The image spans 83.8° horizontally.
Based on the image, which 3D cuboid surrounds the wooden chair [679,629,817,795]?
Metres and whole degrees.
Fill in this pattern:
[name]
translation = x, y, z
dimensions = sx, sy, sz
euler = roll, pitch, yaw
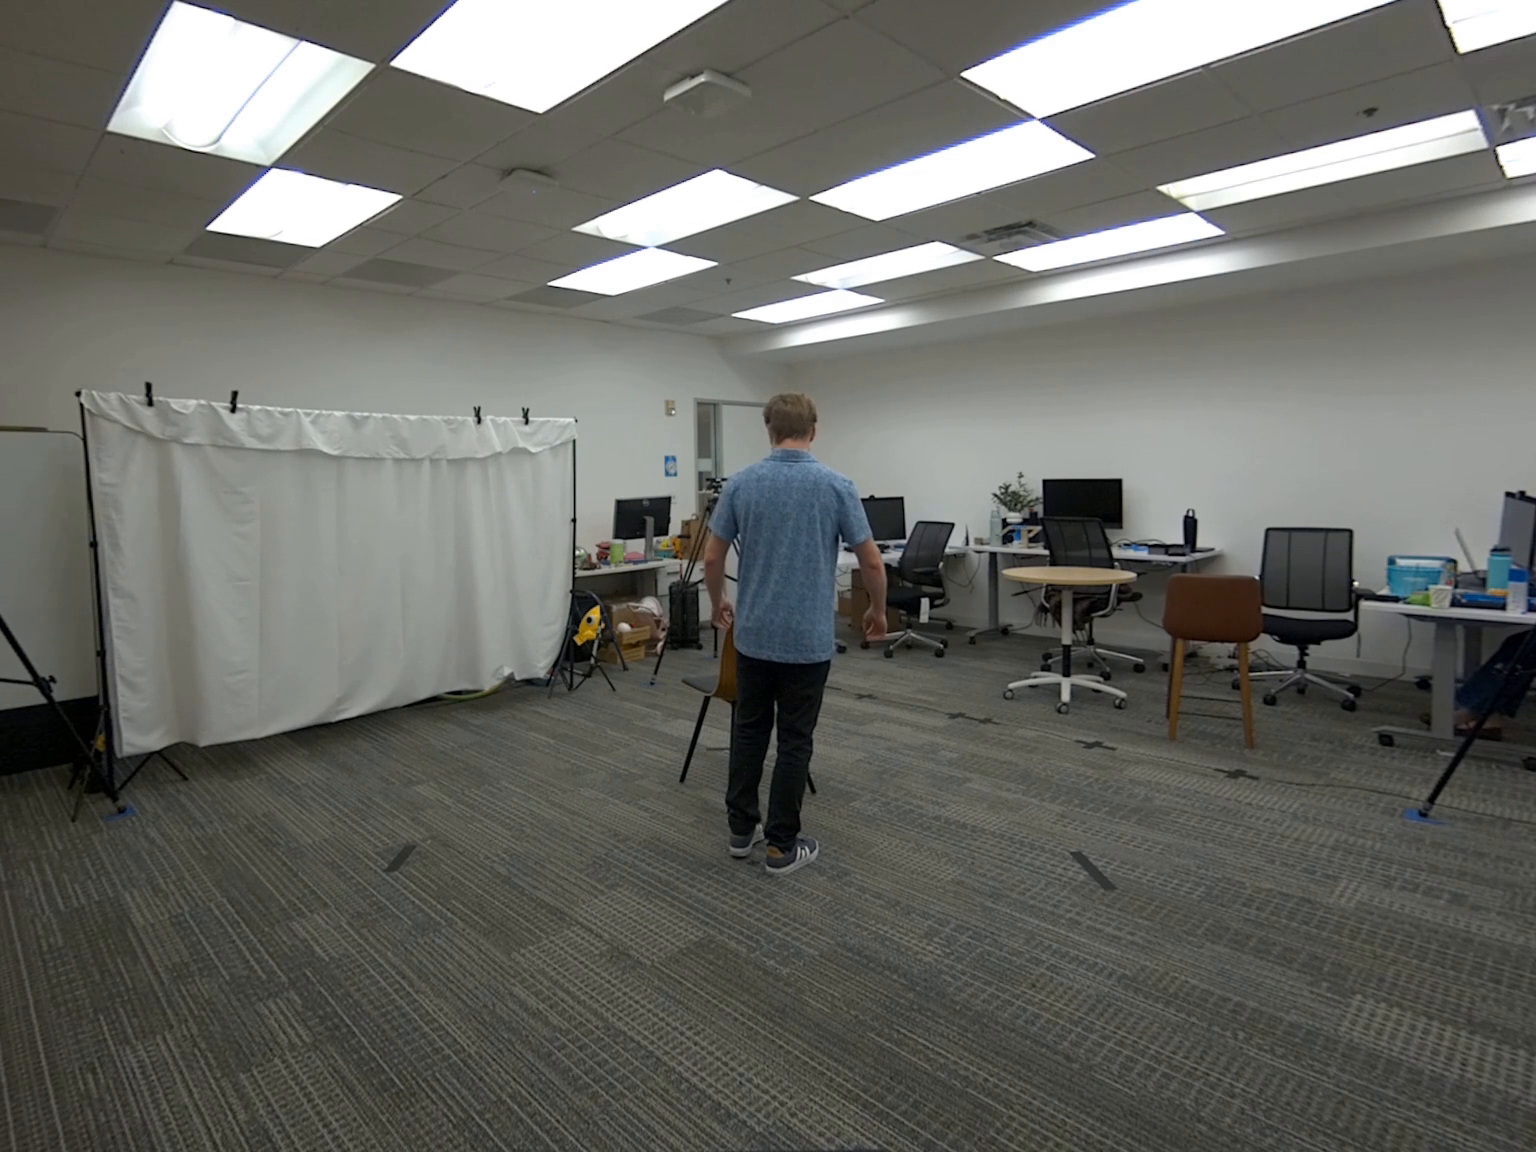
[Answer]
[wooden chair]
translation = -0.109, 0.530, 3.840
dimensions = 0.467, 0.871, 0.539
euler = -4, 9, -31
